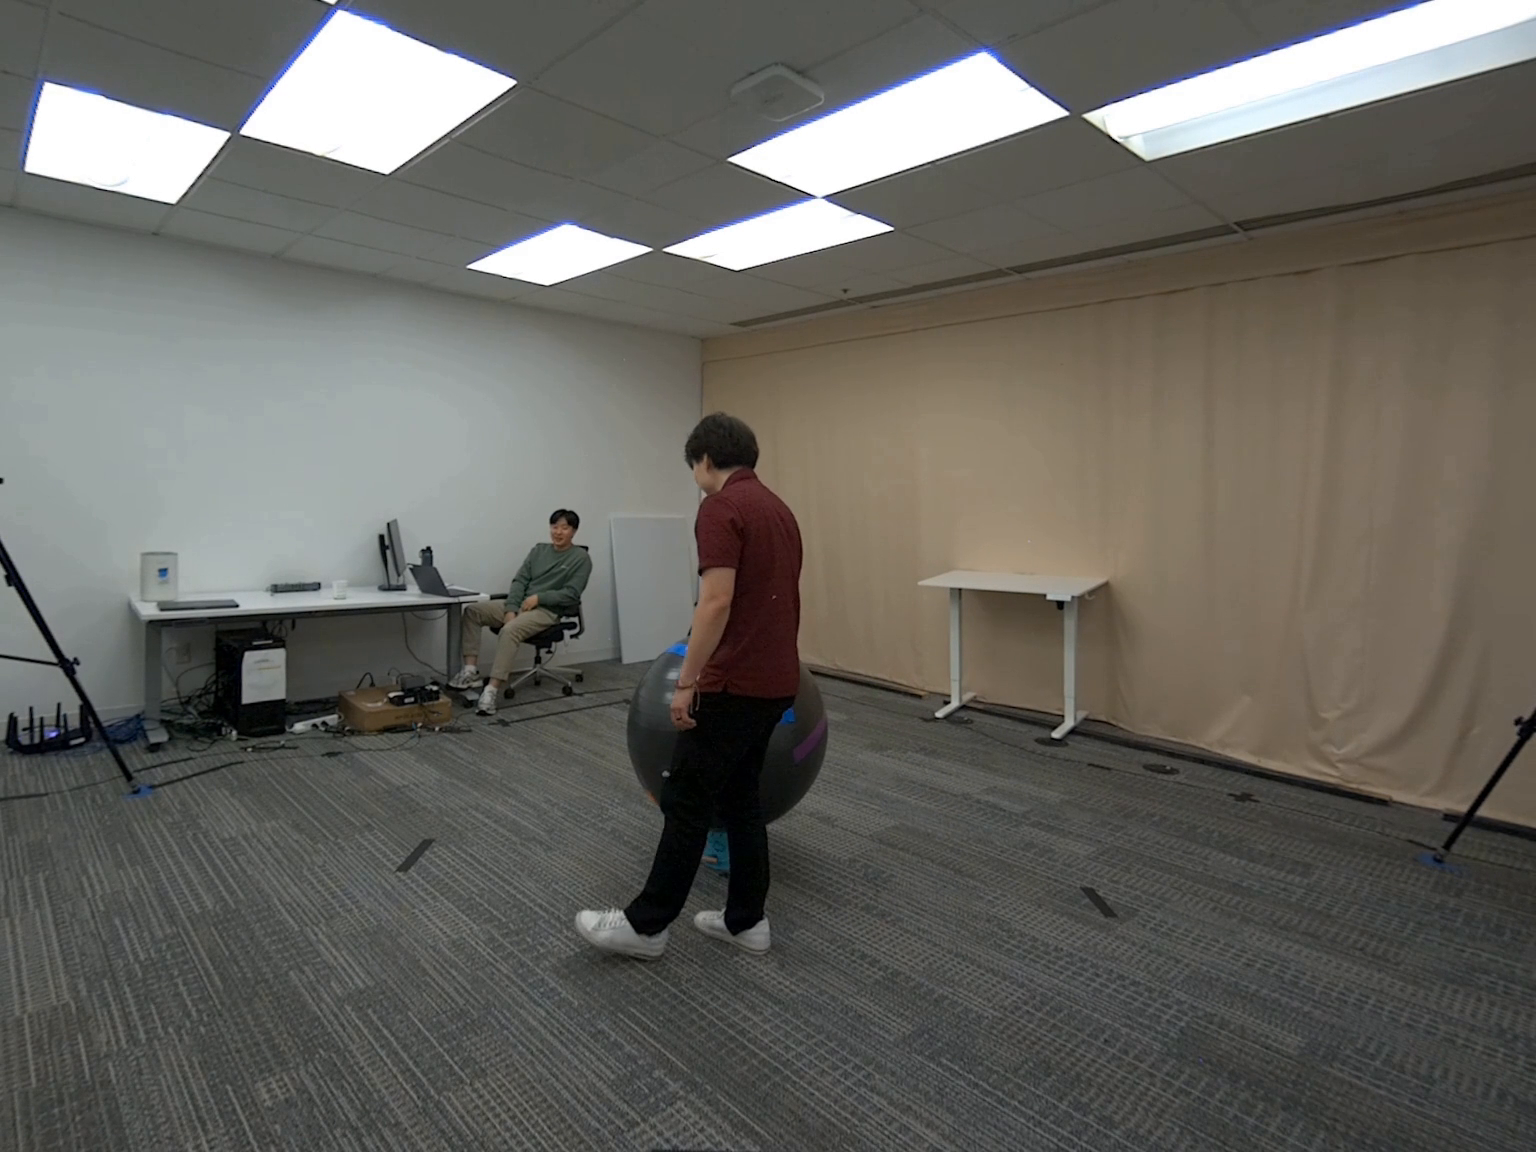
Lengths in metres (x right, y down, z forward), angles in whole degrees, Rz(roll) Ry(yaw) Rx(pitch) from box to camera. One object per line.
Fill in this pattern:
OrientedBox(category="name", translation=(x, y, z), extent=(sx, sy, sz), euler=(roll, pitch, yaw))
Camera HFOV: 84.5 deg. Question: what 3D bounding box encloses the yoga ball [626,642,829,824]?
OrientedBox(category="yoga ball", translation=(-0.158, 0.585, 3.202), extent=(0.757, 0.756, 0.761), euler=(1, 4, -1))
